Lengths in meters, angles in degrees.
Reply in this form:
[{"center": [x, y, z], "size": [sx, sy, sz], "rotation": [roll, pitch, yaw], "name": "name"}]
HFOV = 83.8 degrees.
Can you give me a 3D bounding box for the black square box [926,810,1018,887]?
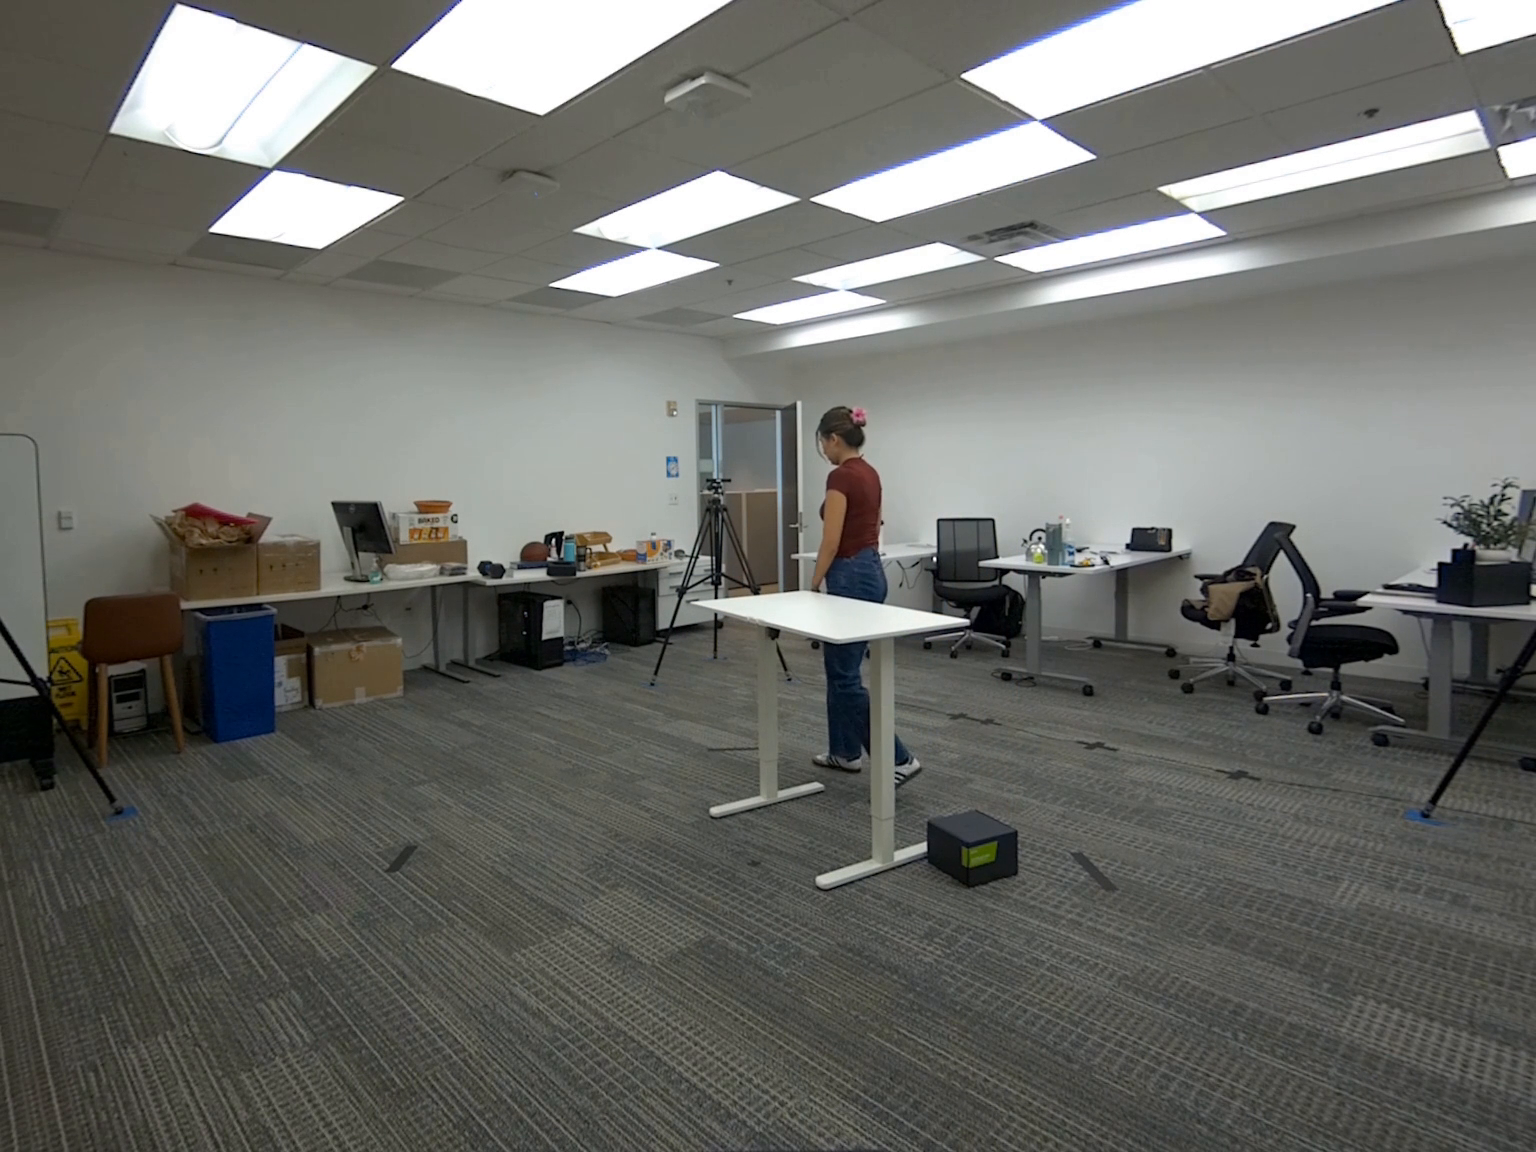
[{"center": [0.725, 0.961, 3.026], "size": [0.223, 0.155, 0.223], "rotation": [-4, 7, -28], "name": "black square box"}]
